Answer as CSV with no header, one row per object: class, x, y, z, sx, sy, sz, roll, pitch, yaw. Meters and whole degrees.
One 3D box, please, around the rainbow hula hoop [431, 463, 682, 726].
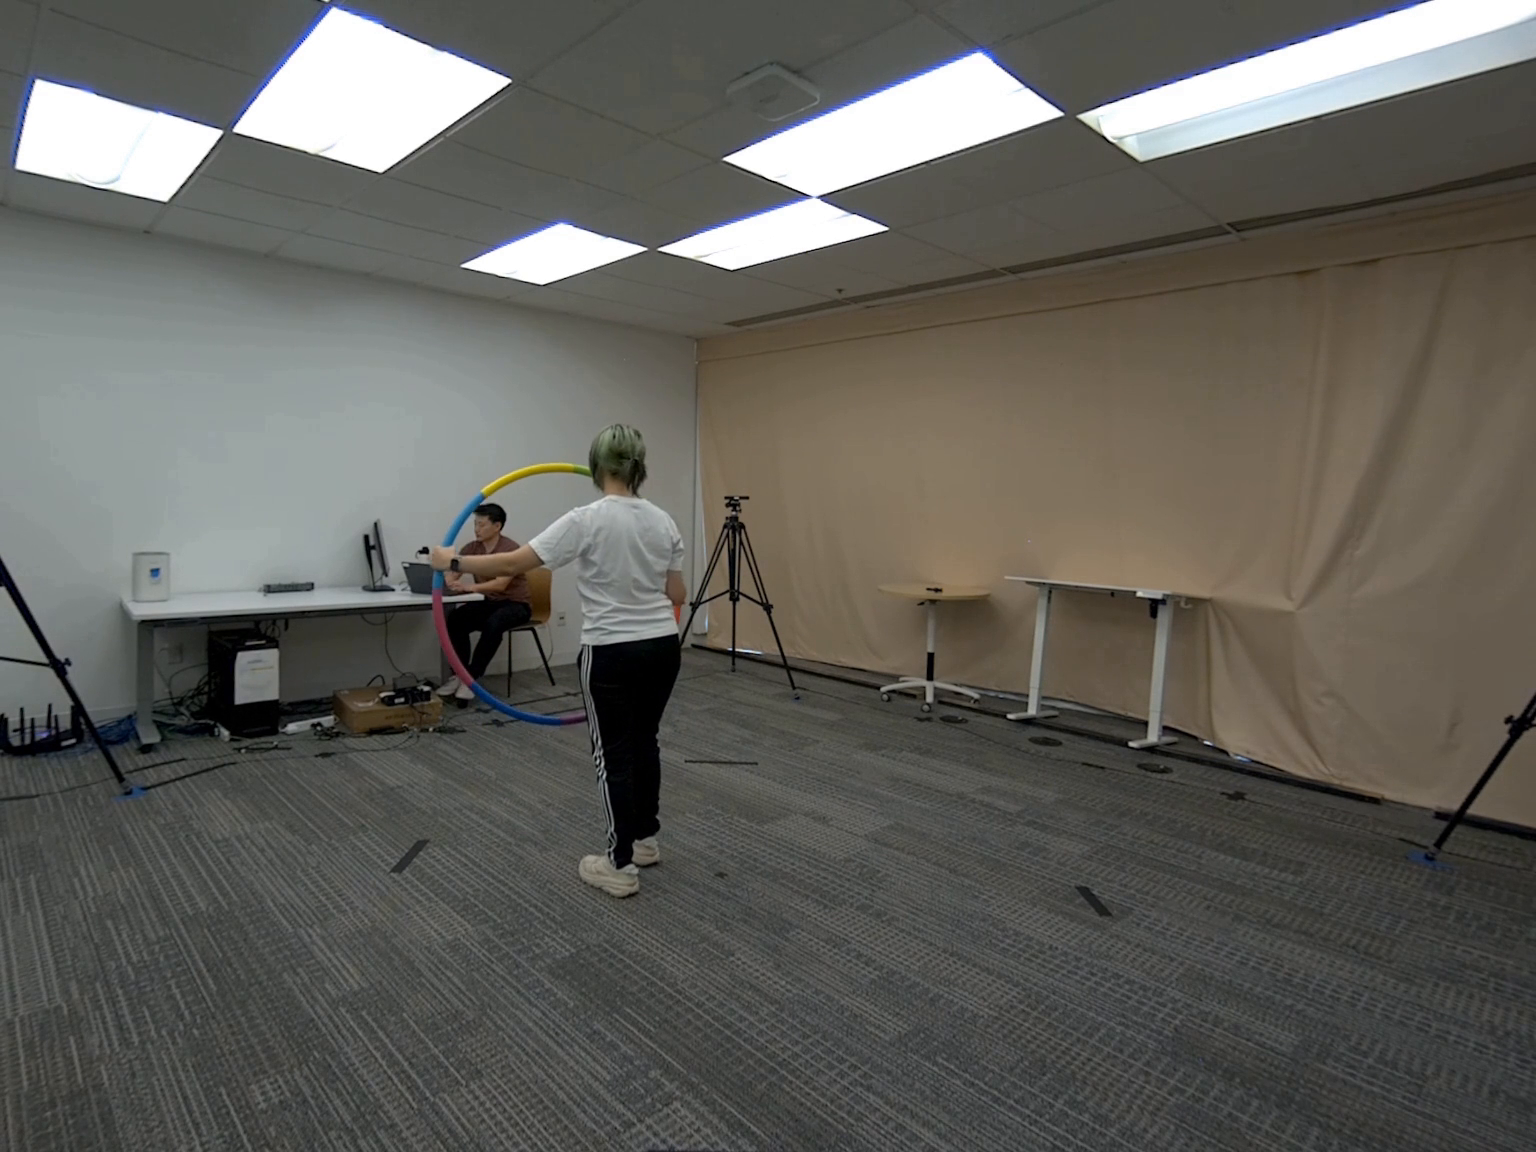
rainbow hula hoop,-0.758,0.070,3.191,0.958,0.980,0.036,-1,-2,-32
